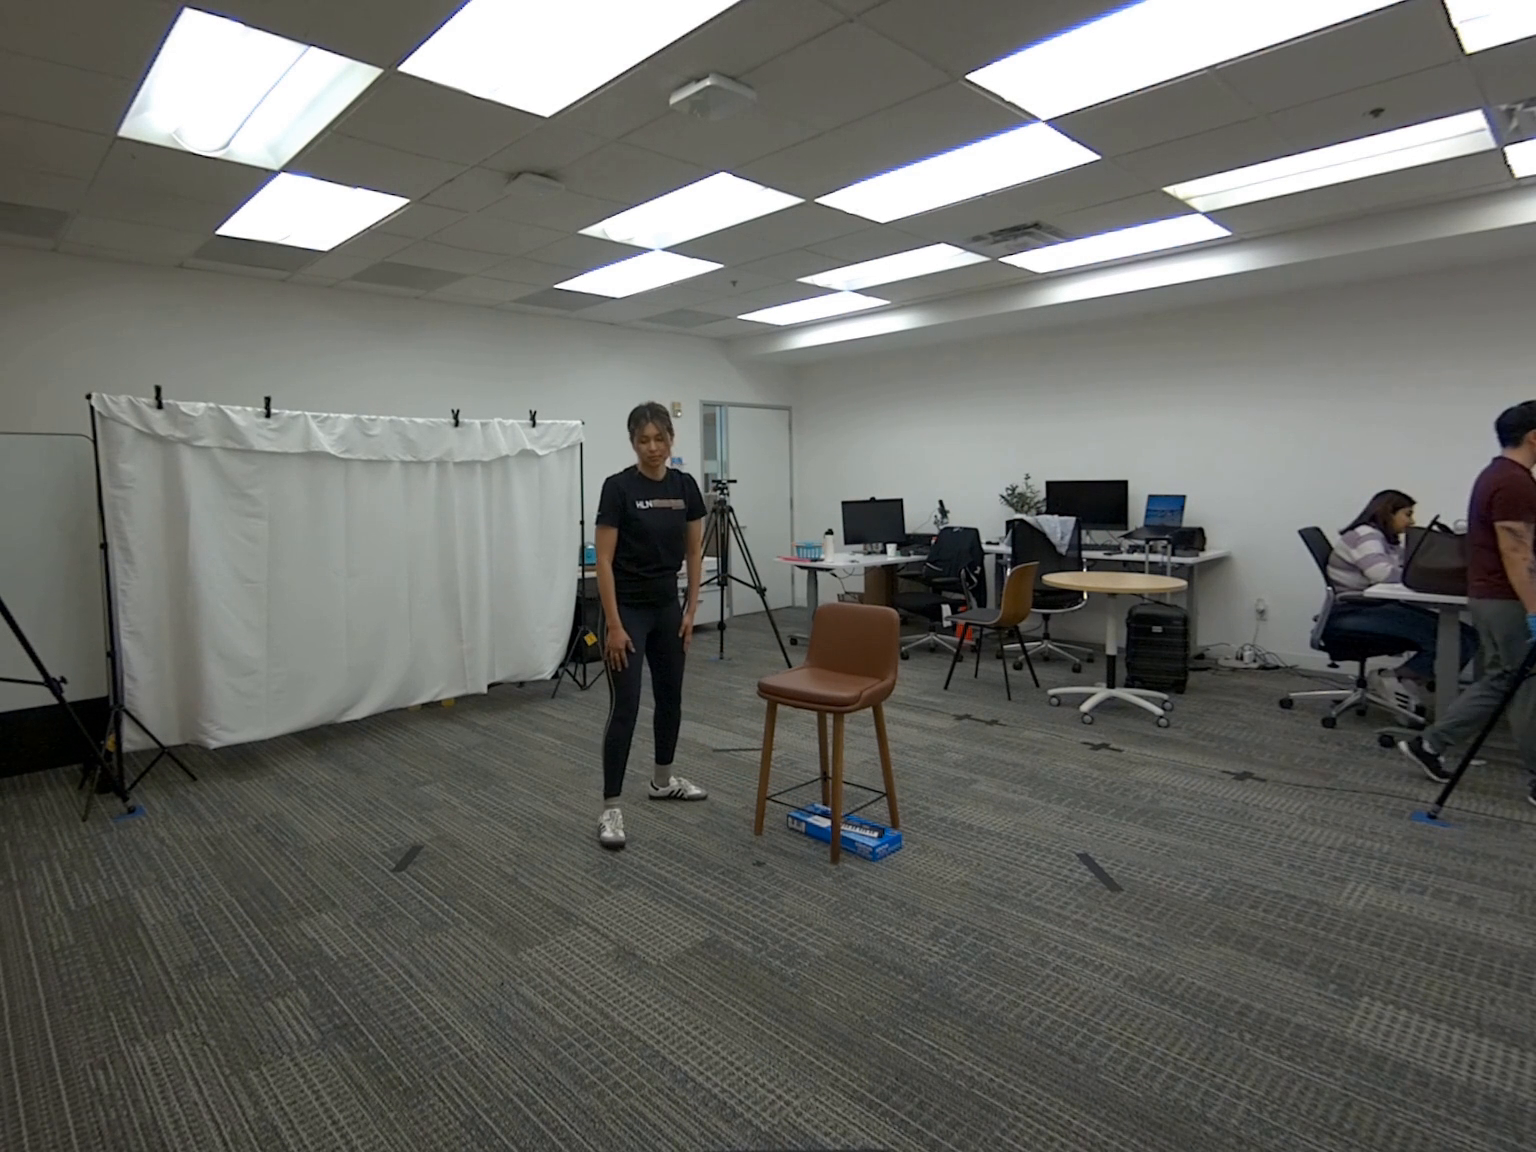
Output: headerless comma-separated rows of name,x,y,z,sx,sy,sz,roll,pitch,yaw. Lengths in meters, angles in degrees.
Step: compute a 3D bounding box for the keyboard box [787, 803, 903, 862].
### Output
keyboard box,0.289,0.982,3.313,0.171,0.059,0.450,-7,8,-44
